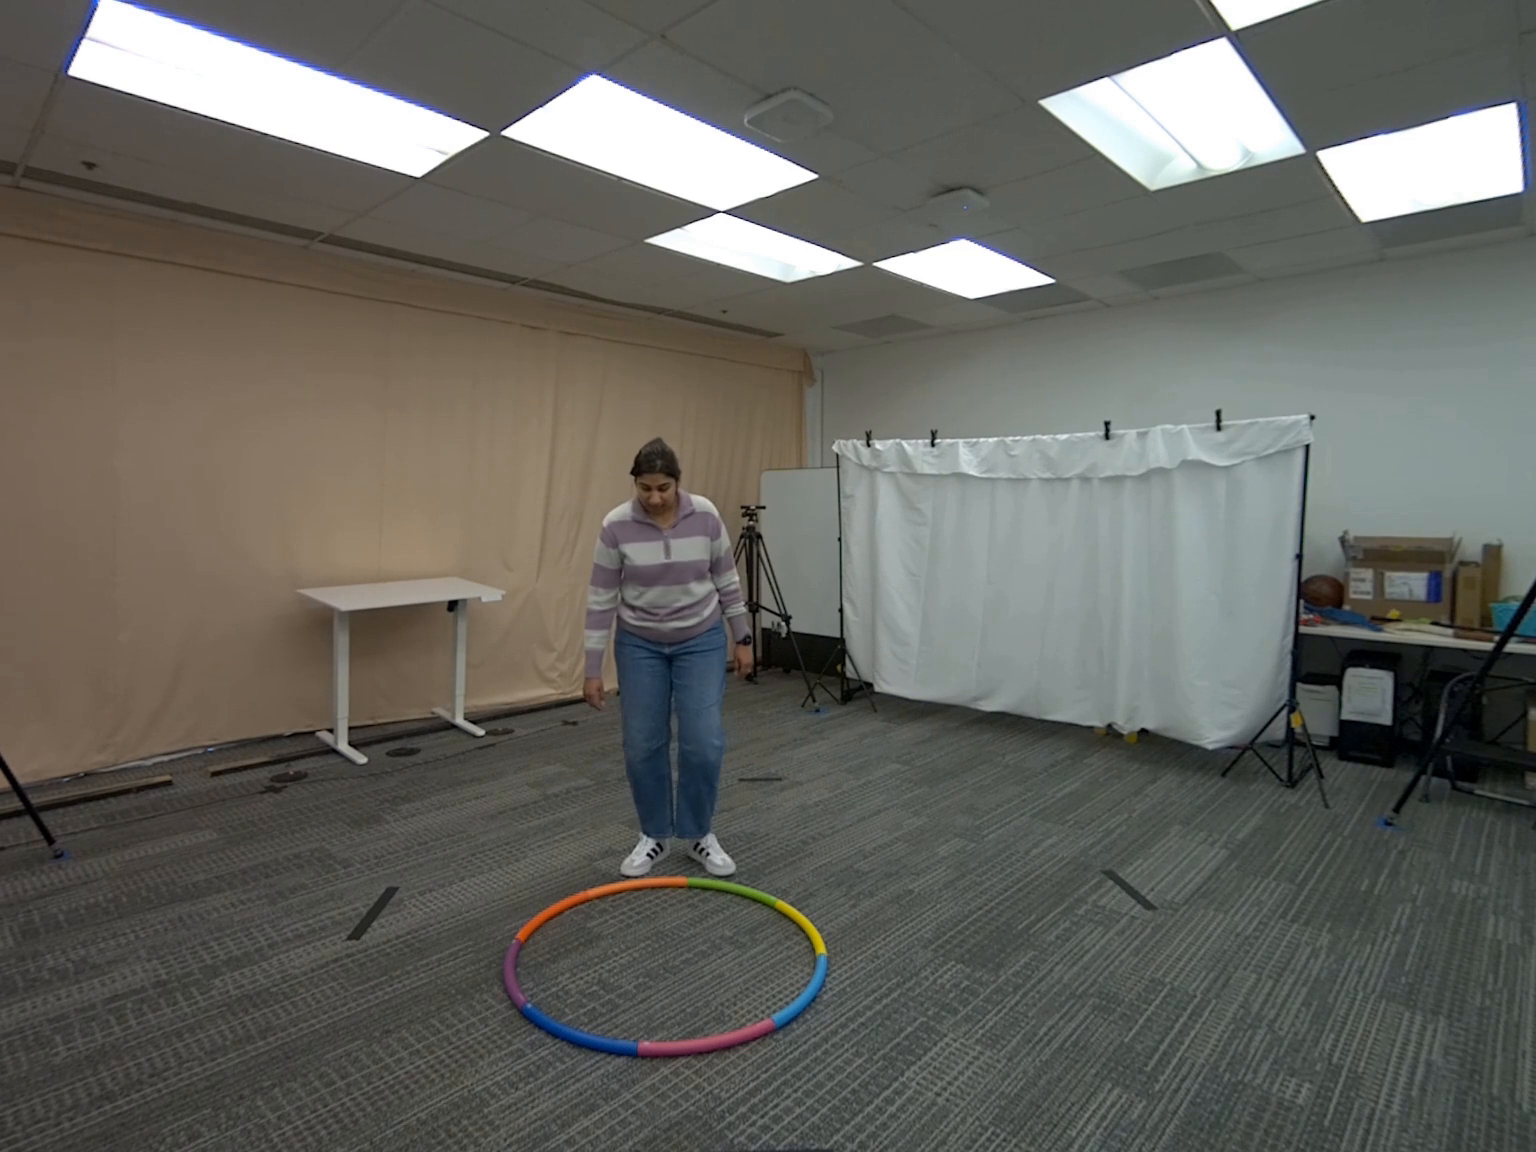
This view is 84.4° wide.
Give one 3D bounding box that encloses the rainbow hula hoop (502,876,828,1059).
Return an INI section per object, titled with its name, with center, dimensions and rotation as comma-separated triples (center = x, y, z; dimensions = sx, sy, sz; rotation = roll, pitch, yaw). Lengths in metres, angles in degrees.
[rainbow hula hoop]
center = -0.310, 1.148, 2.612
dimensions = 0.978, 0.035, 0.982
rotation = -1, 4, -2
